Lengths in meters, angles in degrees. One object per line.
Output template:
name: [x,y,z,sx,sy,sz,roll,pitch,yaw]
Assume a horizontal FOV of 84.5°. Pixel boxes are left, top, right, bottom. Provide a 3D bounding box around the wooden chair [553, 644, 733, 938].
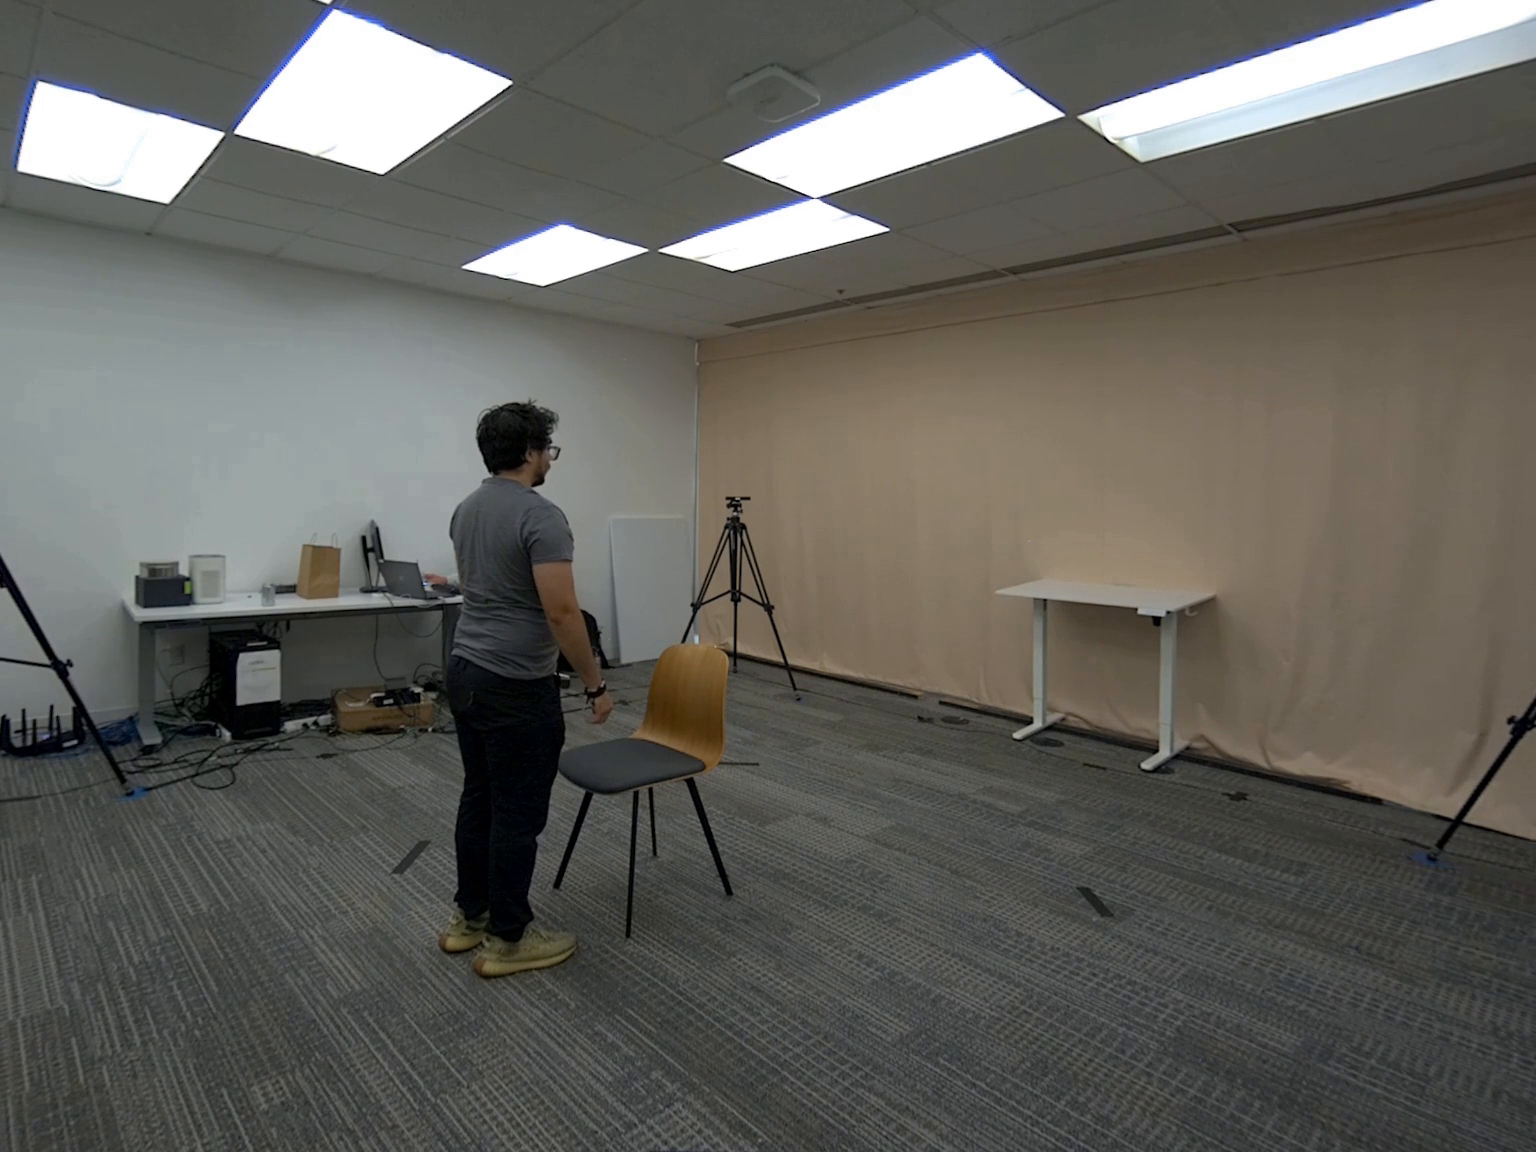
wooden chair: [-0.440,0.691,2.927,0.510,0.877,0.490,4,1,-44]
